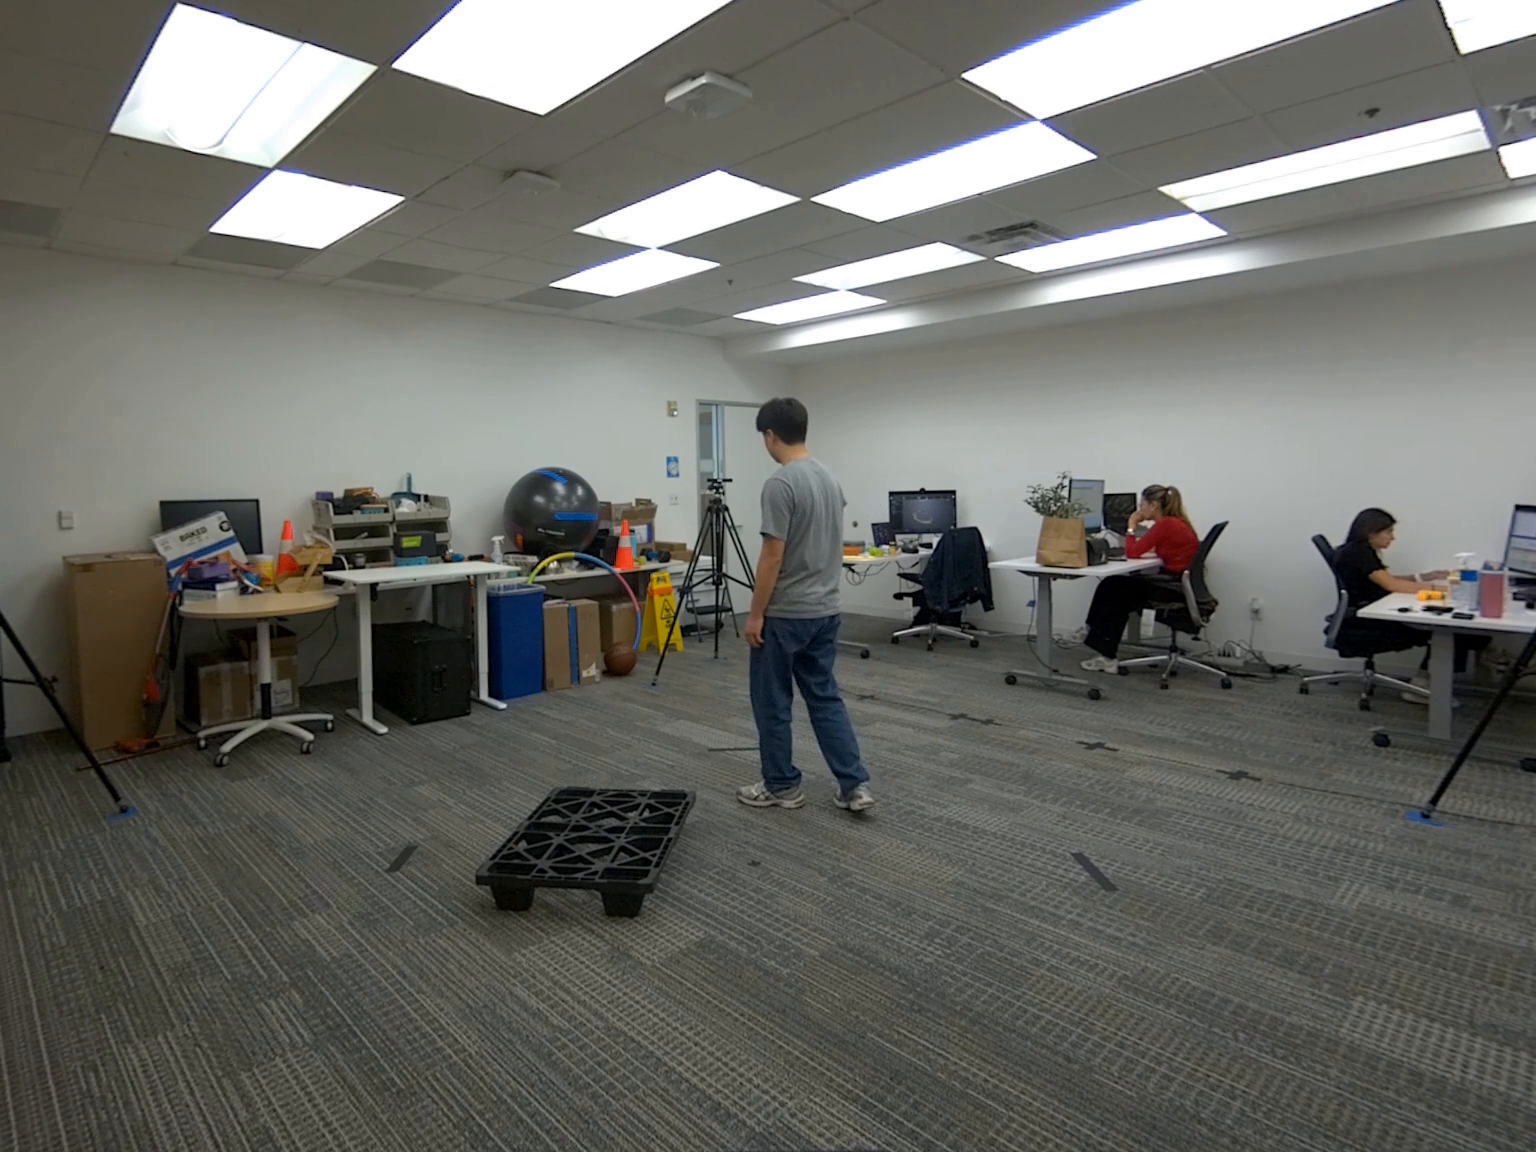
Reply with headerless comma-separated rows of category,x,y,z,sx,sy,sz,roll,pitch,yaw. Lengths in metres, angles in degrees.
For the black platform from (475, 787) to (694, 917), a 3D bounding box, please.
black platform,-0.614,0.983,3.126,0.610,0.142,0.804,0,7,7
